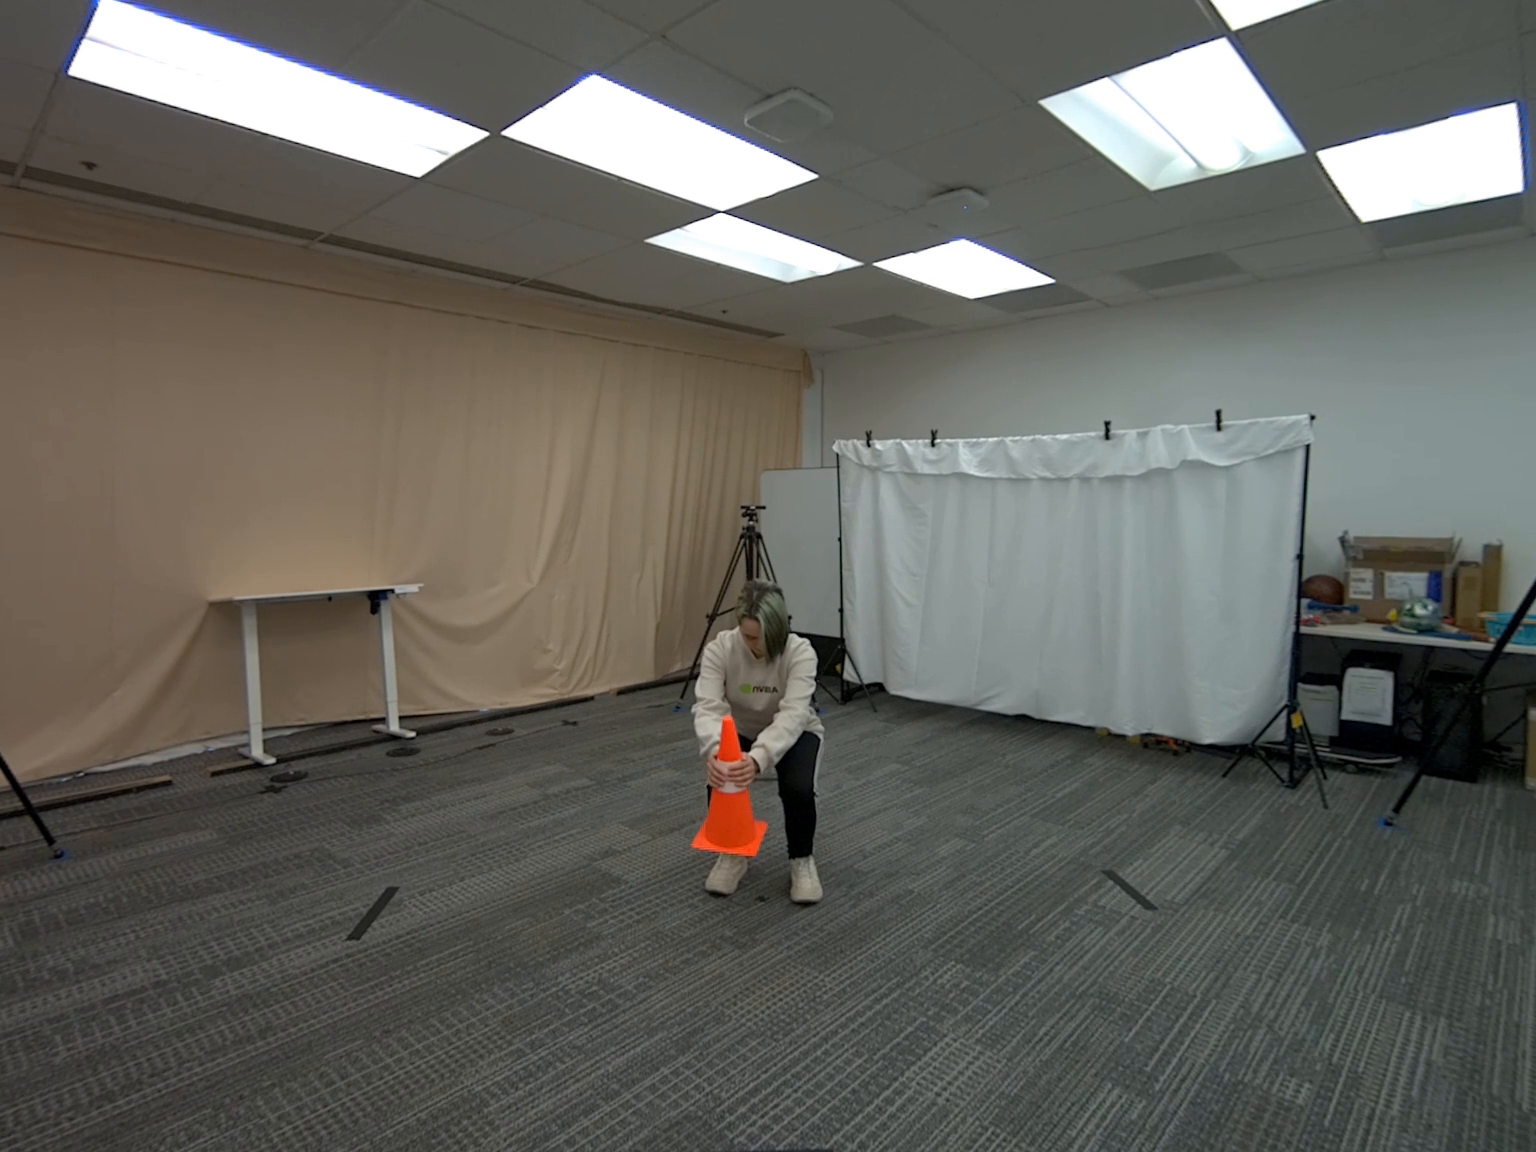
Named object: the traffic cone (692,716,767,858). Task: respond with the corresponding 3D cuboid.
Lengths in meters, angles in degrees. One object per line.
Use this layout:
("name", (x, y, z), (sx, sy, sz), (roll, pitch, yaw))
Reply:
("traffic cone", (-0.113, 0.601, 2.533), (0.208, 0.381, 0.201), (0, 11, 15))
